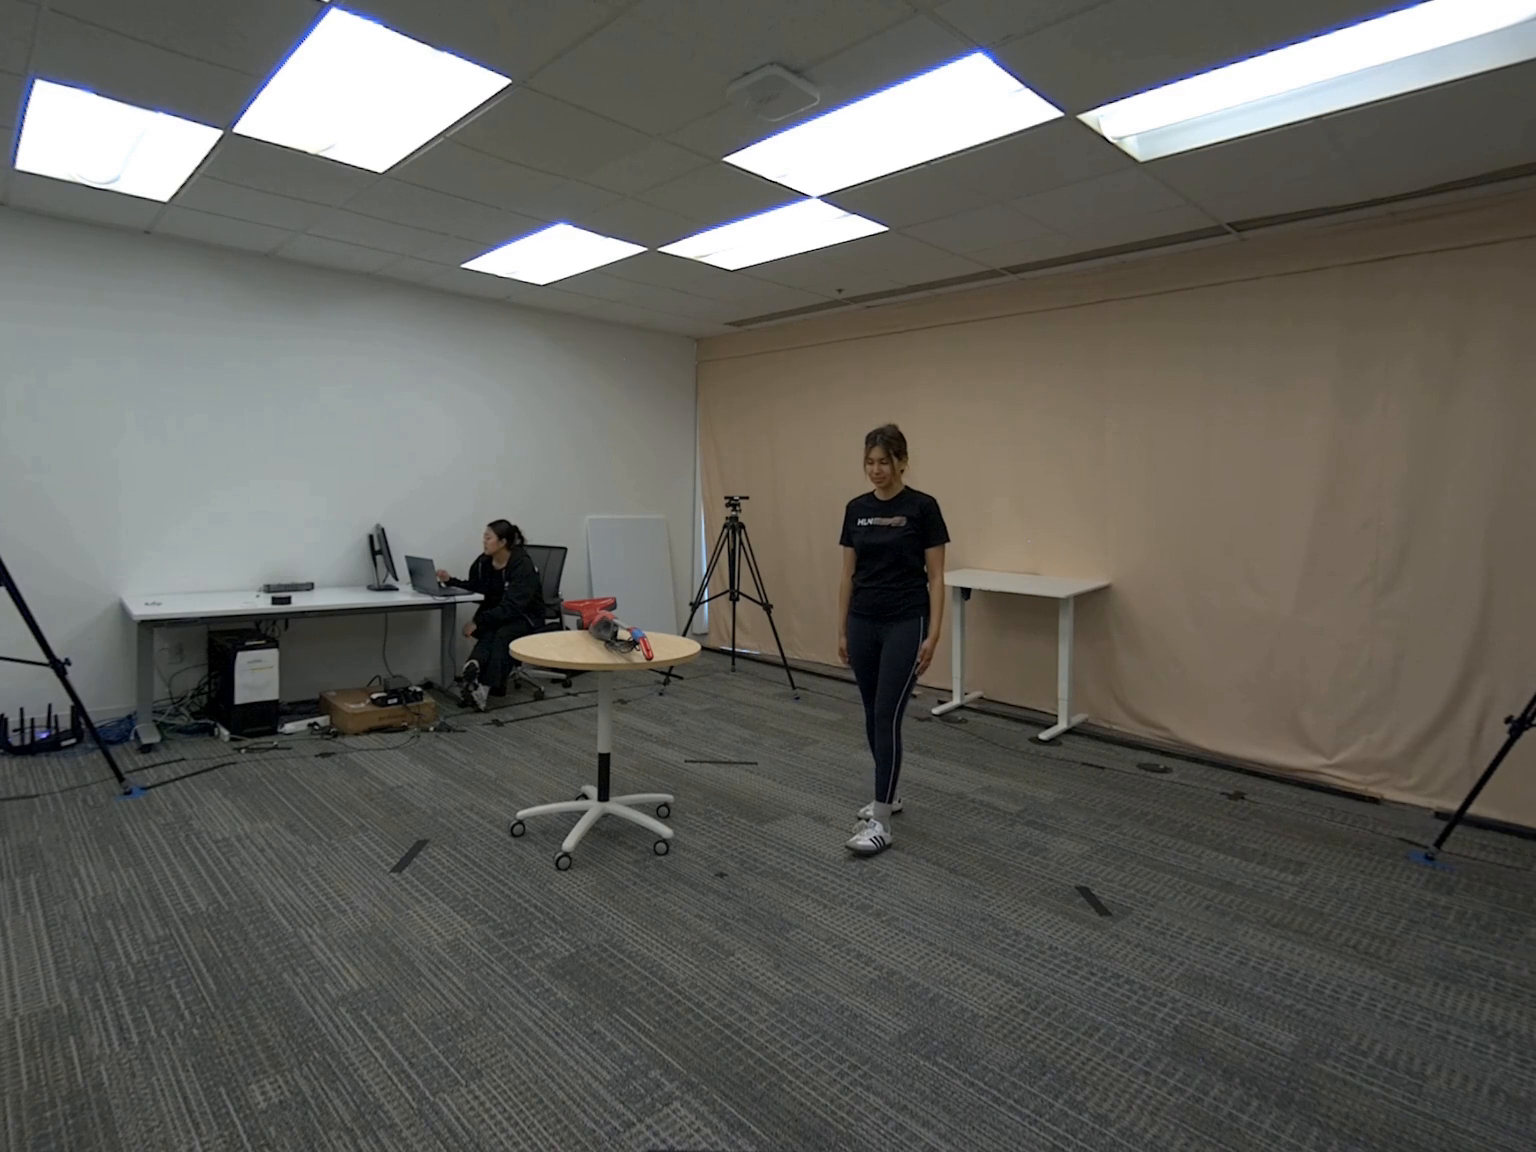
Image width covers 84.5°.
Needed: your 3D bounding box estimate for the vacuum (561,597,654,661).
[{"bbox_3d":[-0.601,0.237,3.337,0.249,0.143,1.070,-7,8,-22],"label":"vacuum"}]
